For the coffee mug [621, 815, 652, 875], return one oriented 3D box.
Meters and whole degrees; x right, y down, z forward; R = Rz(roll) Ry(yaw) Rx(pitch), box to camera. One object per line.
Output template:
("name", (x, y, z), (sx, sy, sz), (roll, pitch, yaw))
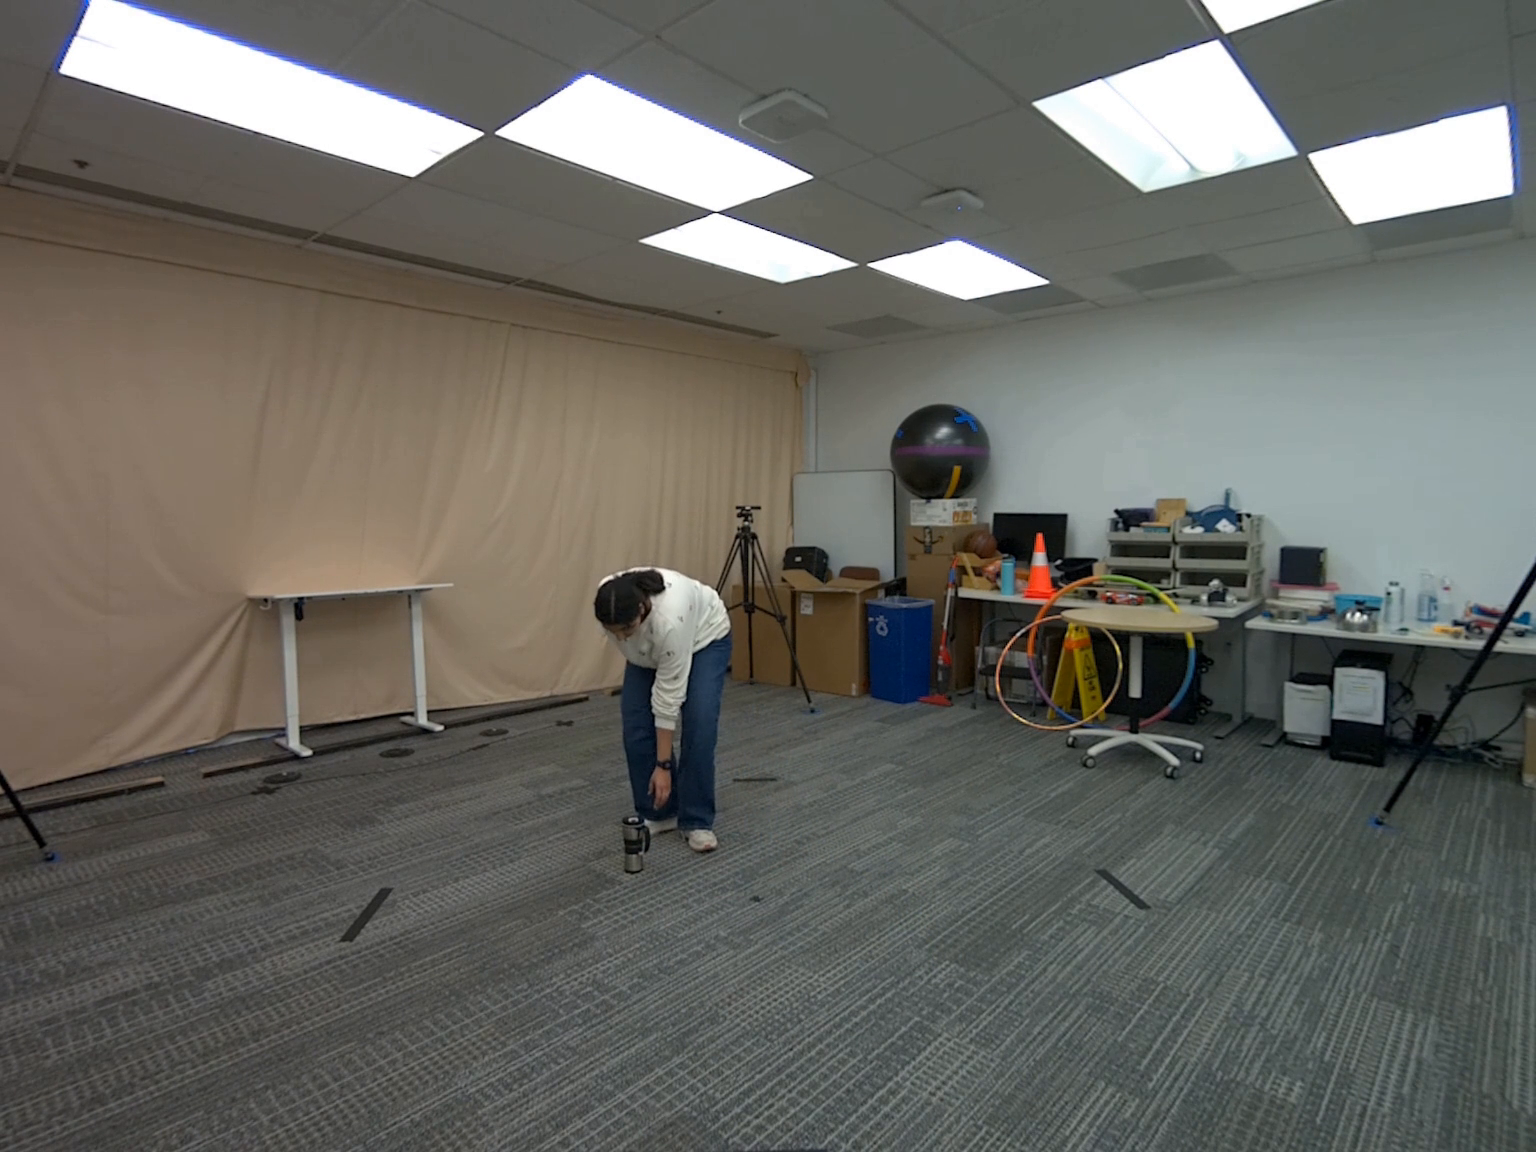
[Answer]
("coffee mug", (-0.507, 1.023, 3.204), (0.085, 0.203, 0.125), (1, -1, -33))
